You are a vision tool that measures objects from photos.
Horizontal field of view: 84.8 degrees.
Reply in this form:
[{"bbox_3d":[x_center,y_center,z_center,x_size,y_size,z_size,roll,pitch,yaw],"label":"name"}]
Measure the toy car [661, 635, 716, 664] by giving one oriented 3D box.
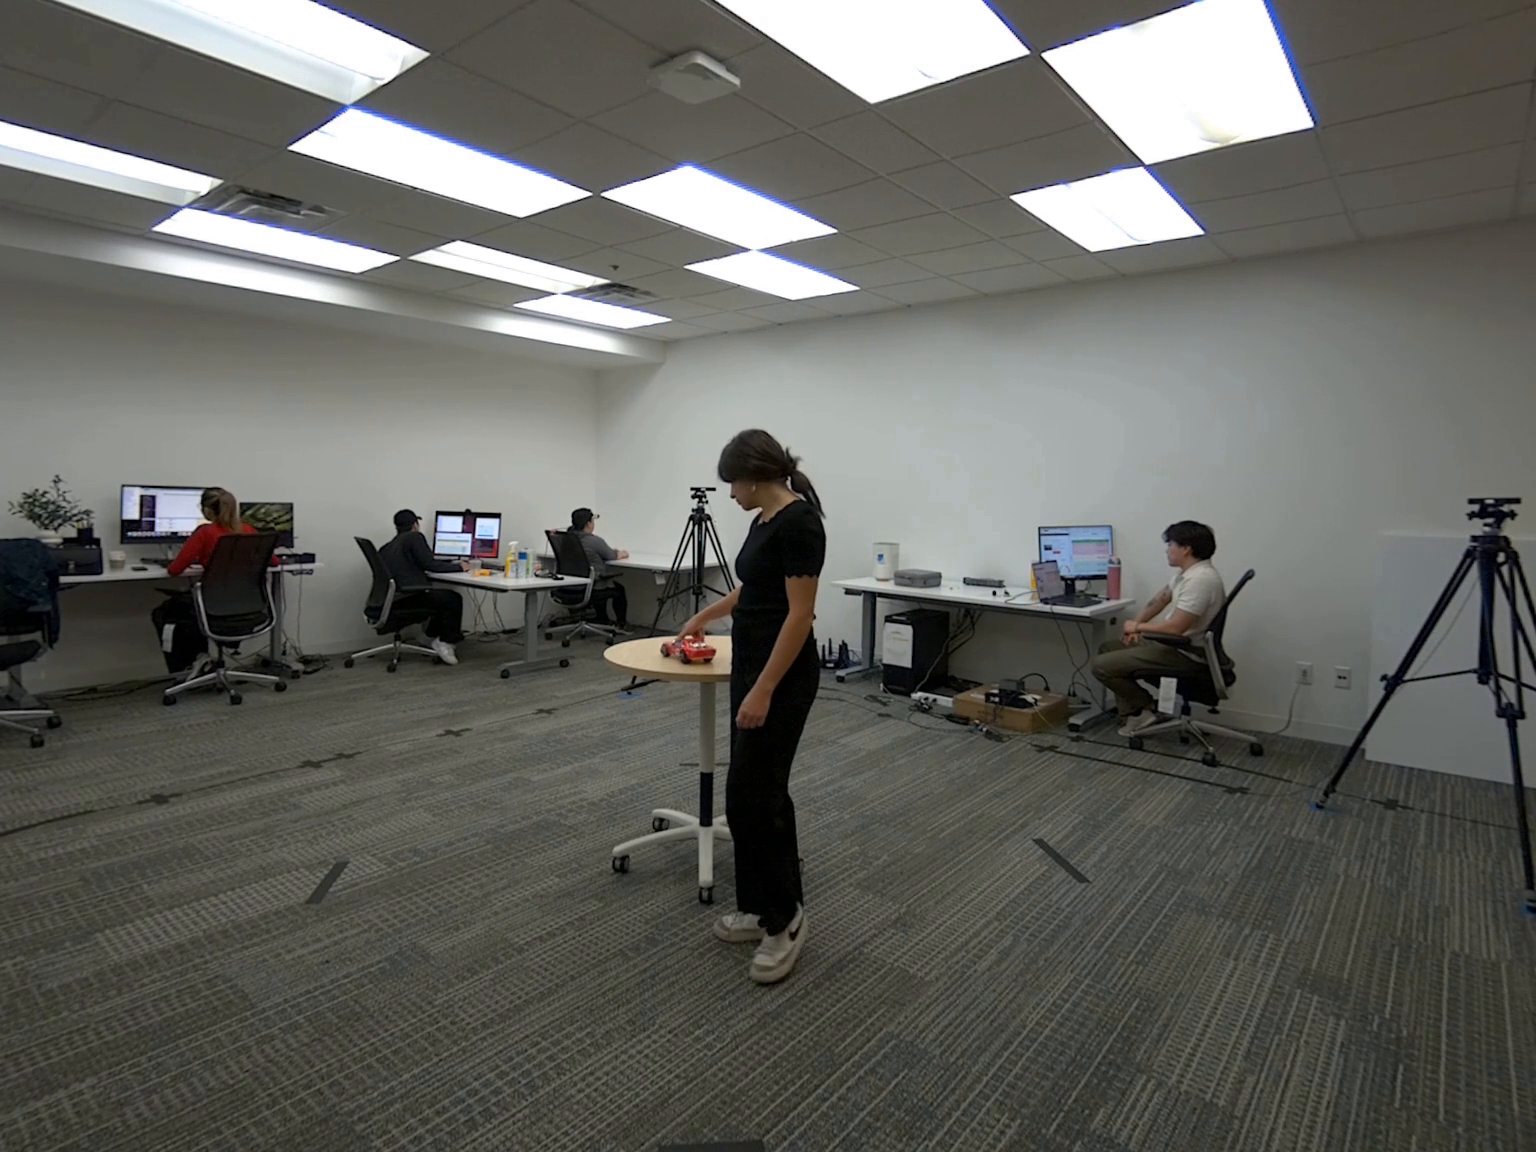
[{"bbox_3d":[-0.284,0.261,2.982,0.127,0.084,0.260,-2,-5,-32],"label":"toy car"}]
